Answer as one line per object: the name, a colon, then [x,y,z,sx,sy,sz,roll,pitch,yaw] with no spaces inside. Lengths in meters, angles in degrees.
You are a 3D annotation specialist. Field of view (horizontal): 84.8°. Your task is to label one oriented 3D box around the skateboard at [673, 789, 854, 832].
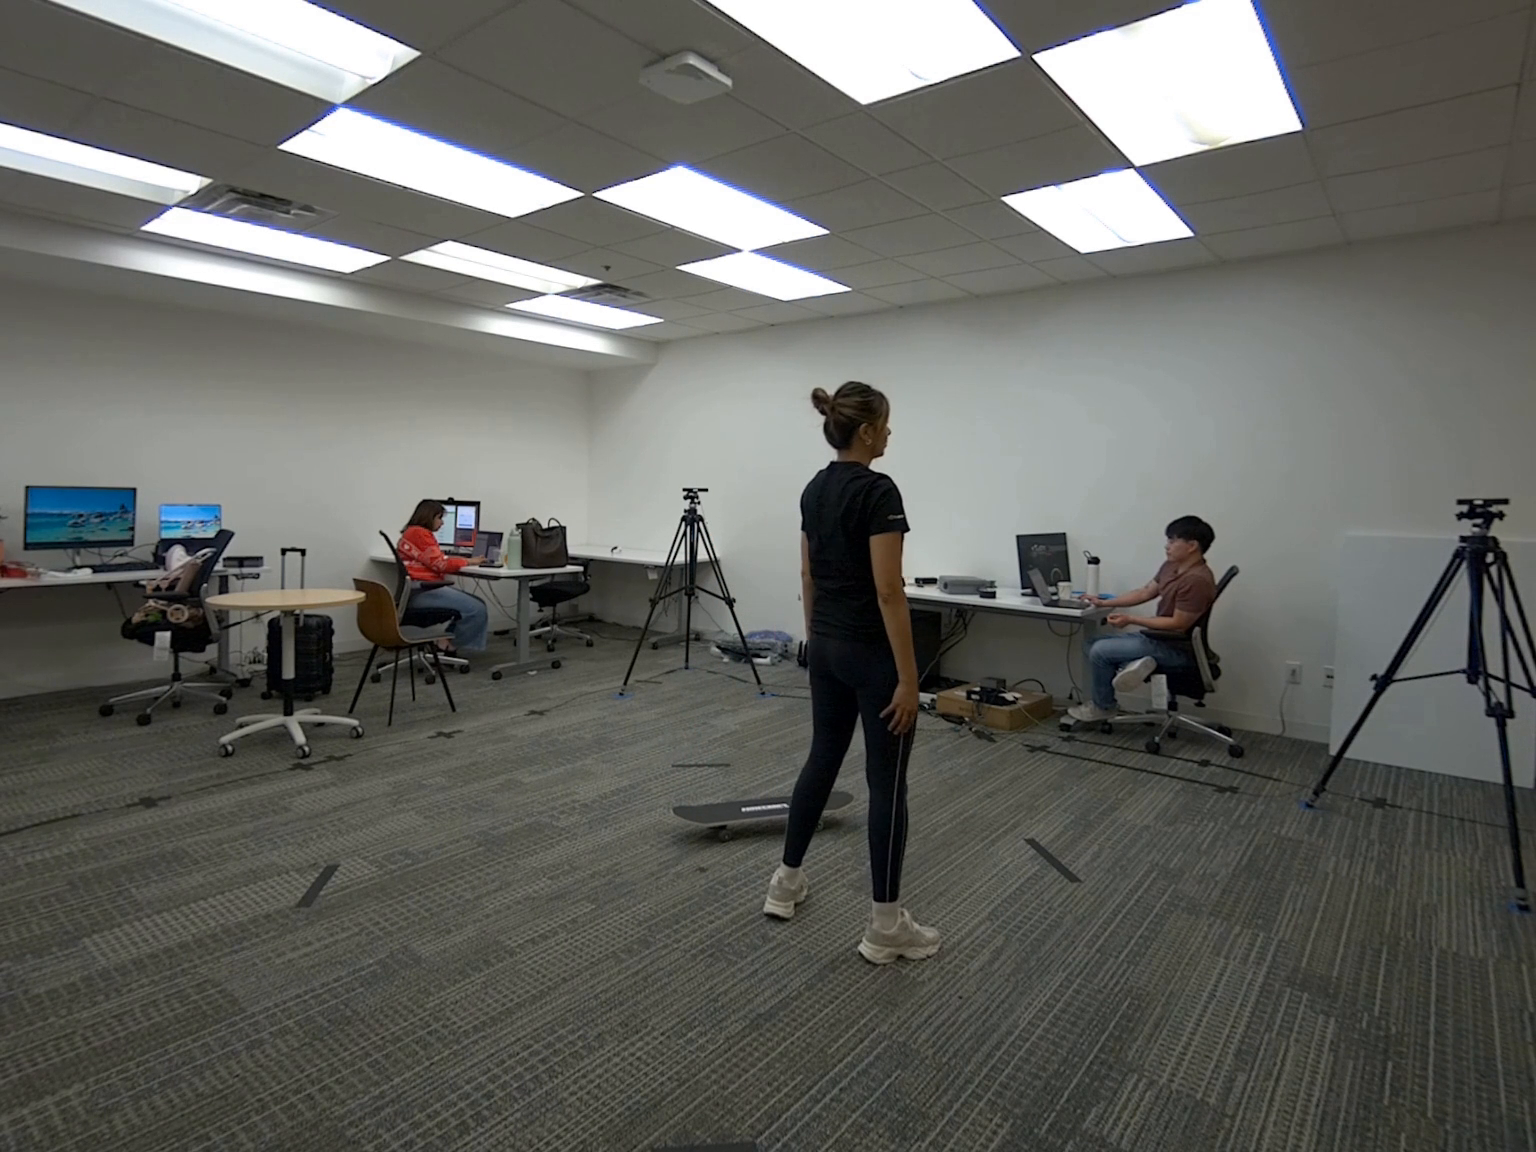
skateboard: [-0.023,0.979,3.493,0.772,0.110,0.198,-1,6,-17]
